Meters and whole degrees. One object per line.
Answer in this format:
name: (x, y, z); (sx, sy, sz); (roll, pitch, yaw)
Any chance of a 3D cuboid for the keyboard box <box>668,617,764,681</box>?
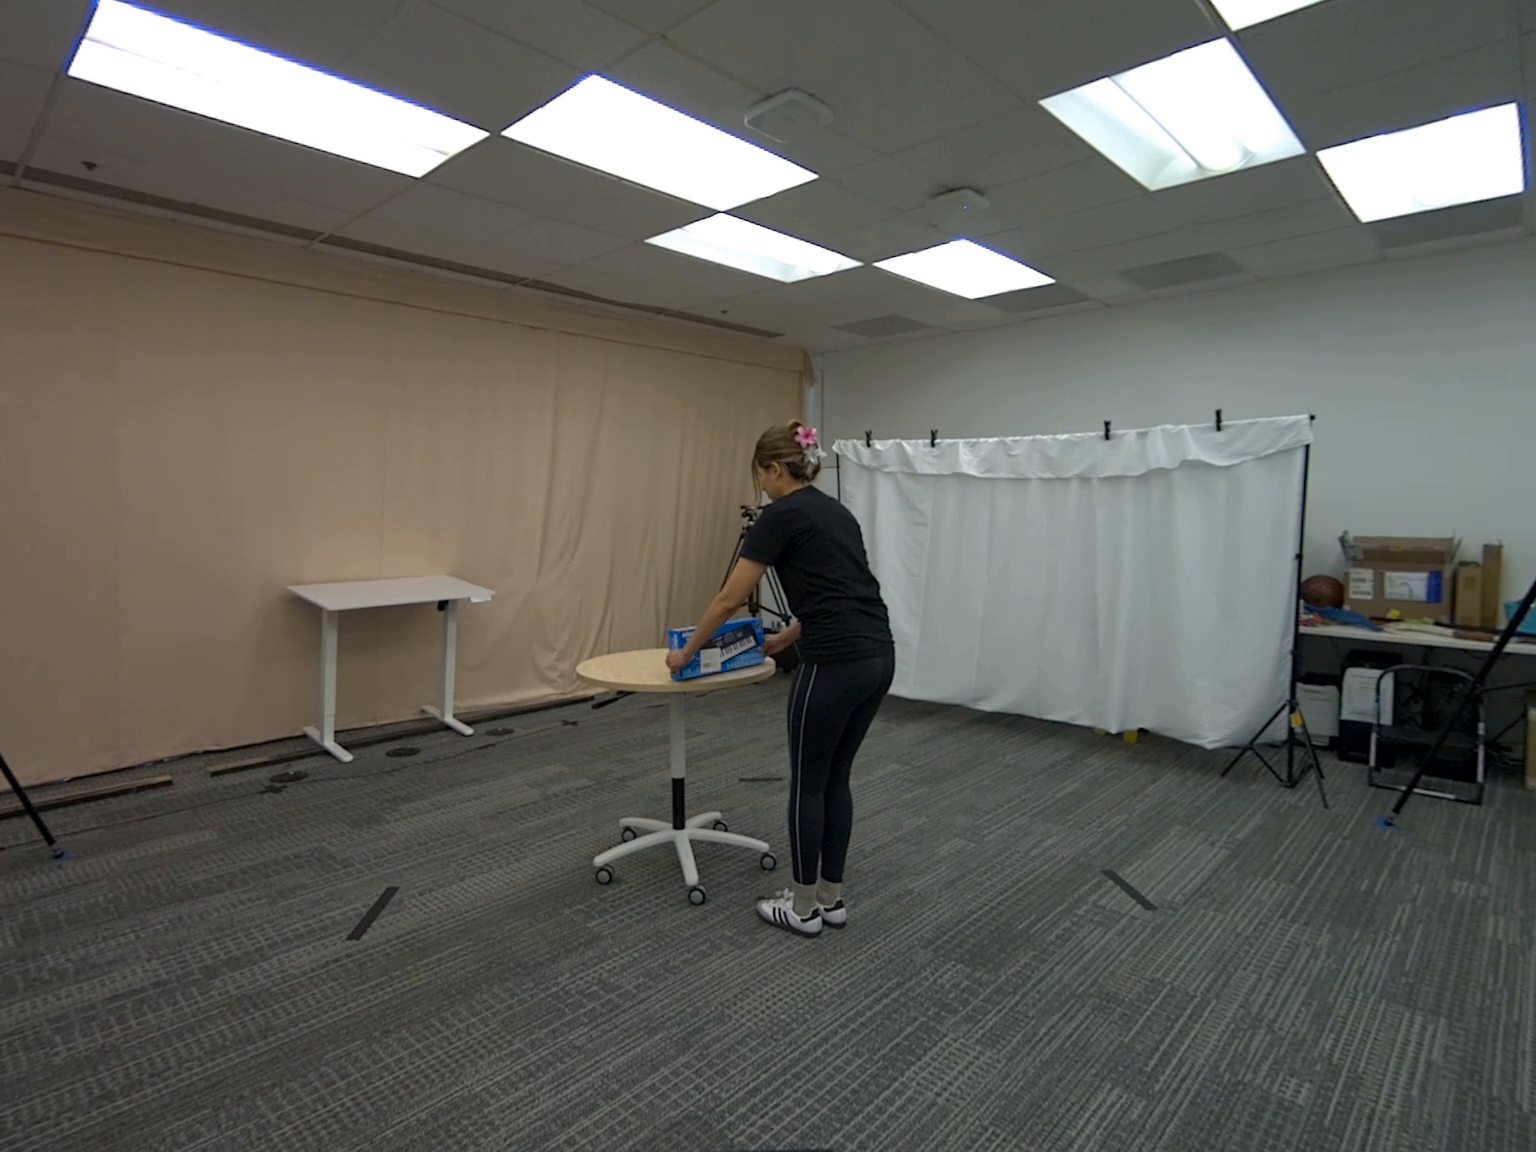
keyboard box: (-0.177, 0.262, 3.075); (0.061, 0.176, 0.424); (-2, 3, 43)
